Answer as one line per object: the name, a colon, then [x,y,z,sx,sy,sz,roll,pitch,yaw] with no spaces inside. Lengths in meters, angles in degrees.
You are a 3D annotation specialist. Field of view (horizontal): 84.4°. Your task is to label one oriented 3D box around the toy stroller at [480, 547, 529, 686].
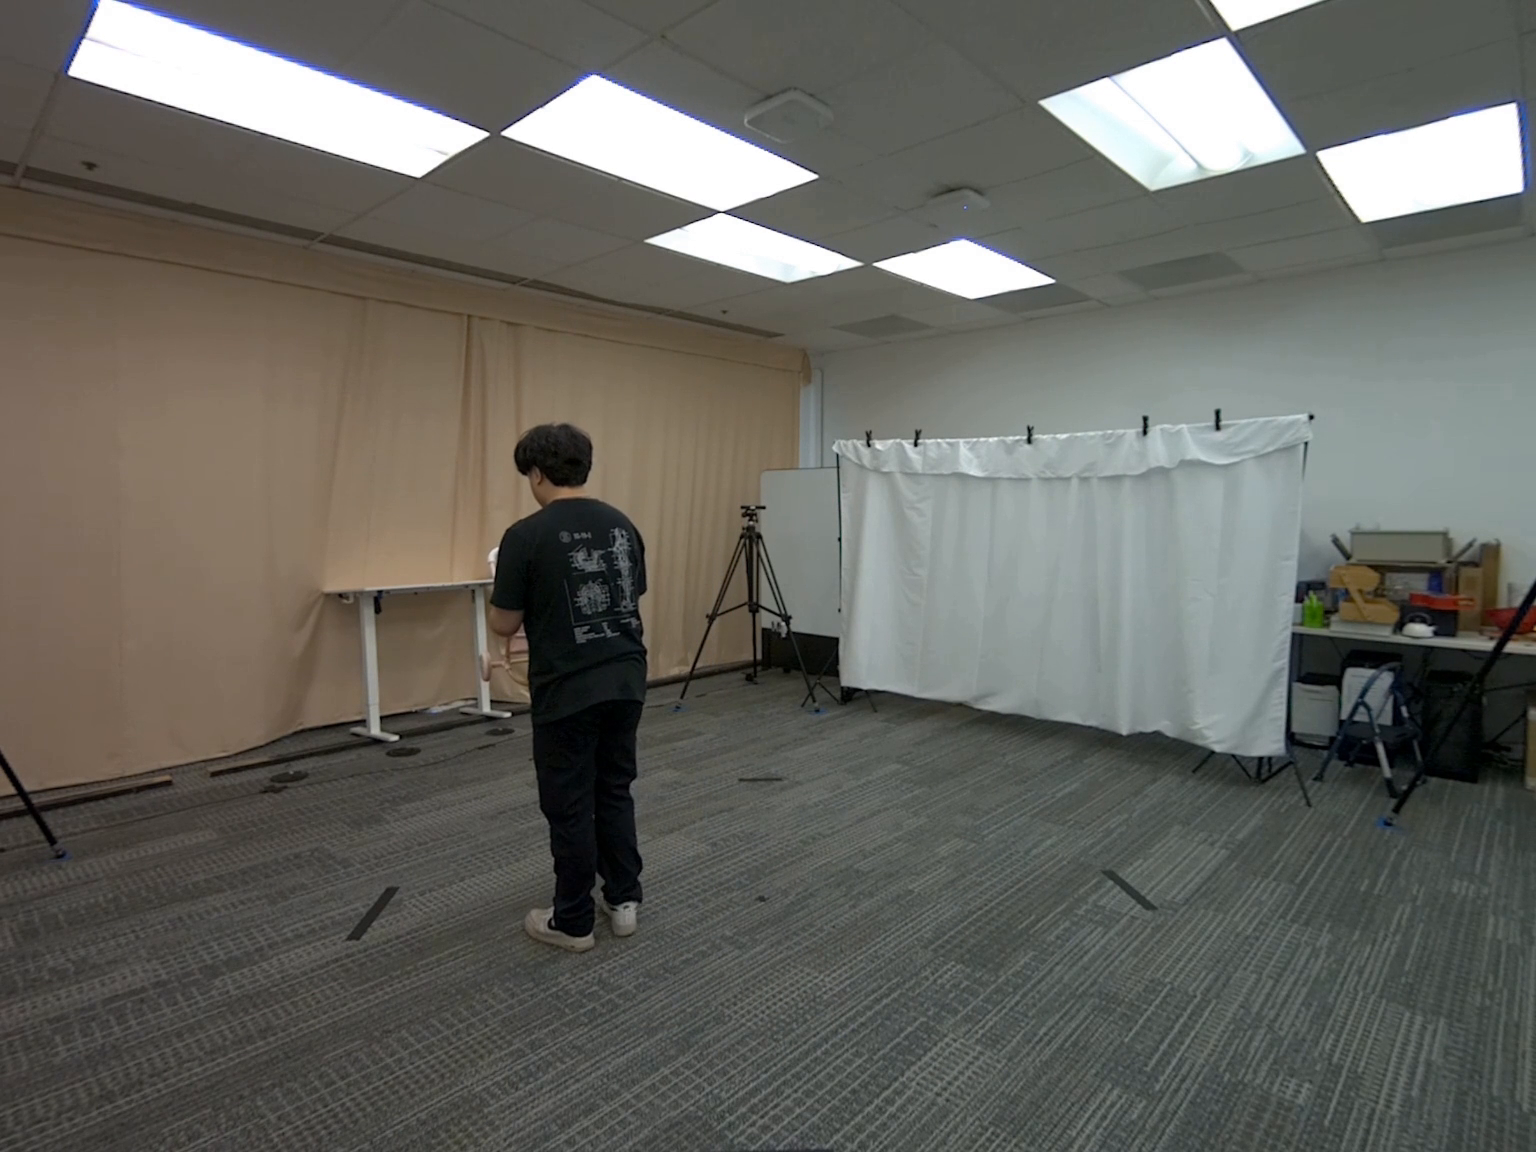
toy stroller: [-0.855,0.179,2.975,0.274,0.533,0.351,-2,7,-28]
